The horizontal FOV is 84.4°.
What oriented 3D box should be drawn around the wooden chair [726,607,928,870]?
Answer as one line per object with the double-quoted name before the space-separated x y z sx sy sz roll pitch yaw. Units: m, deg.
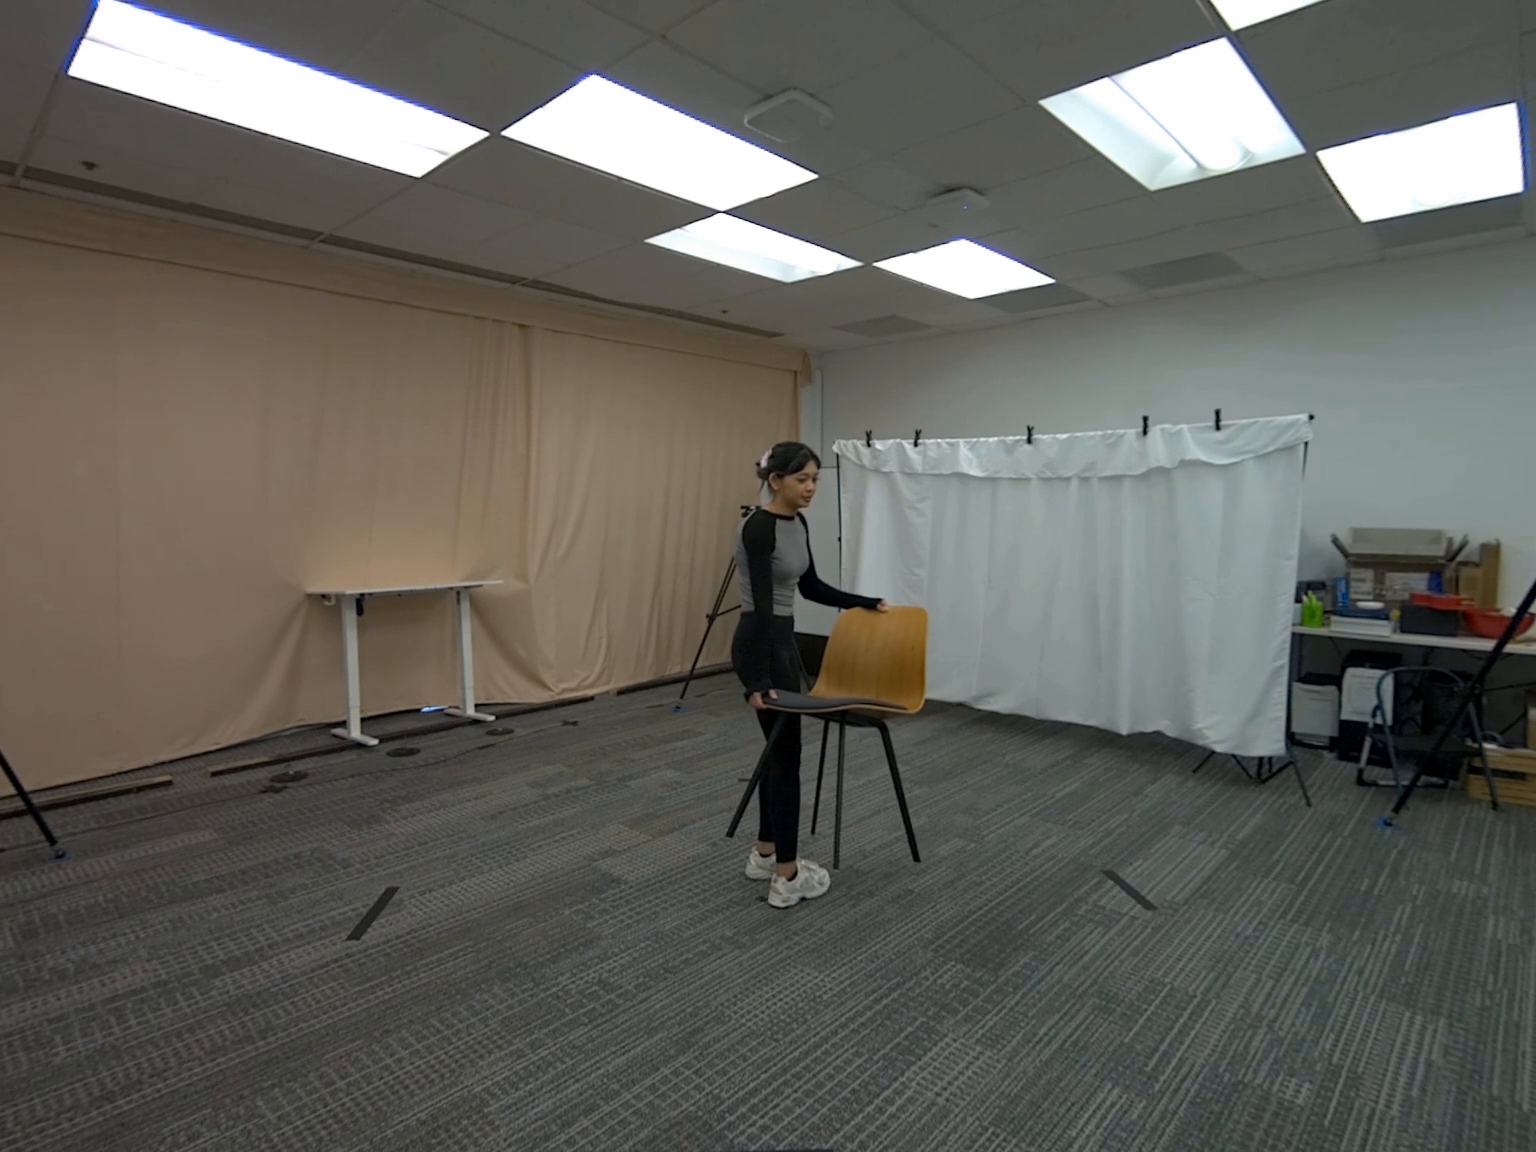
"wooden chair" 0.232 0.476 2.775 0.493 0.882 0.504 -2 -17 42
